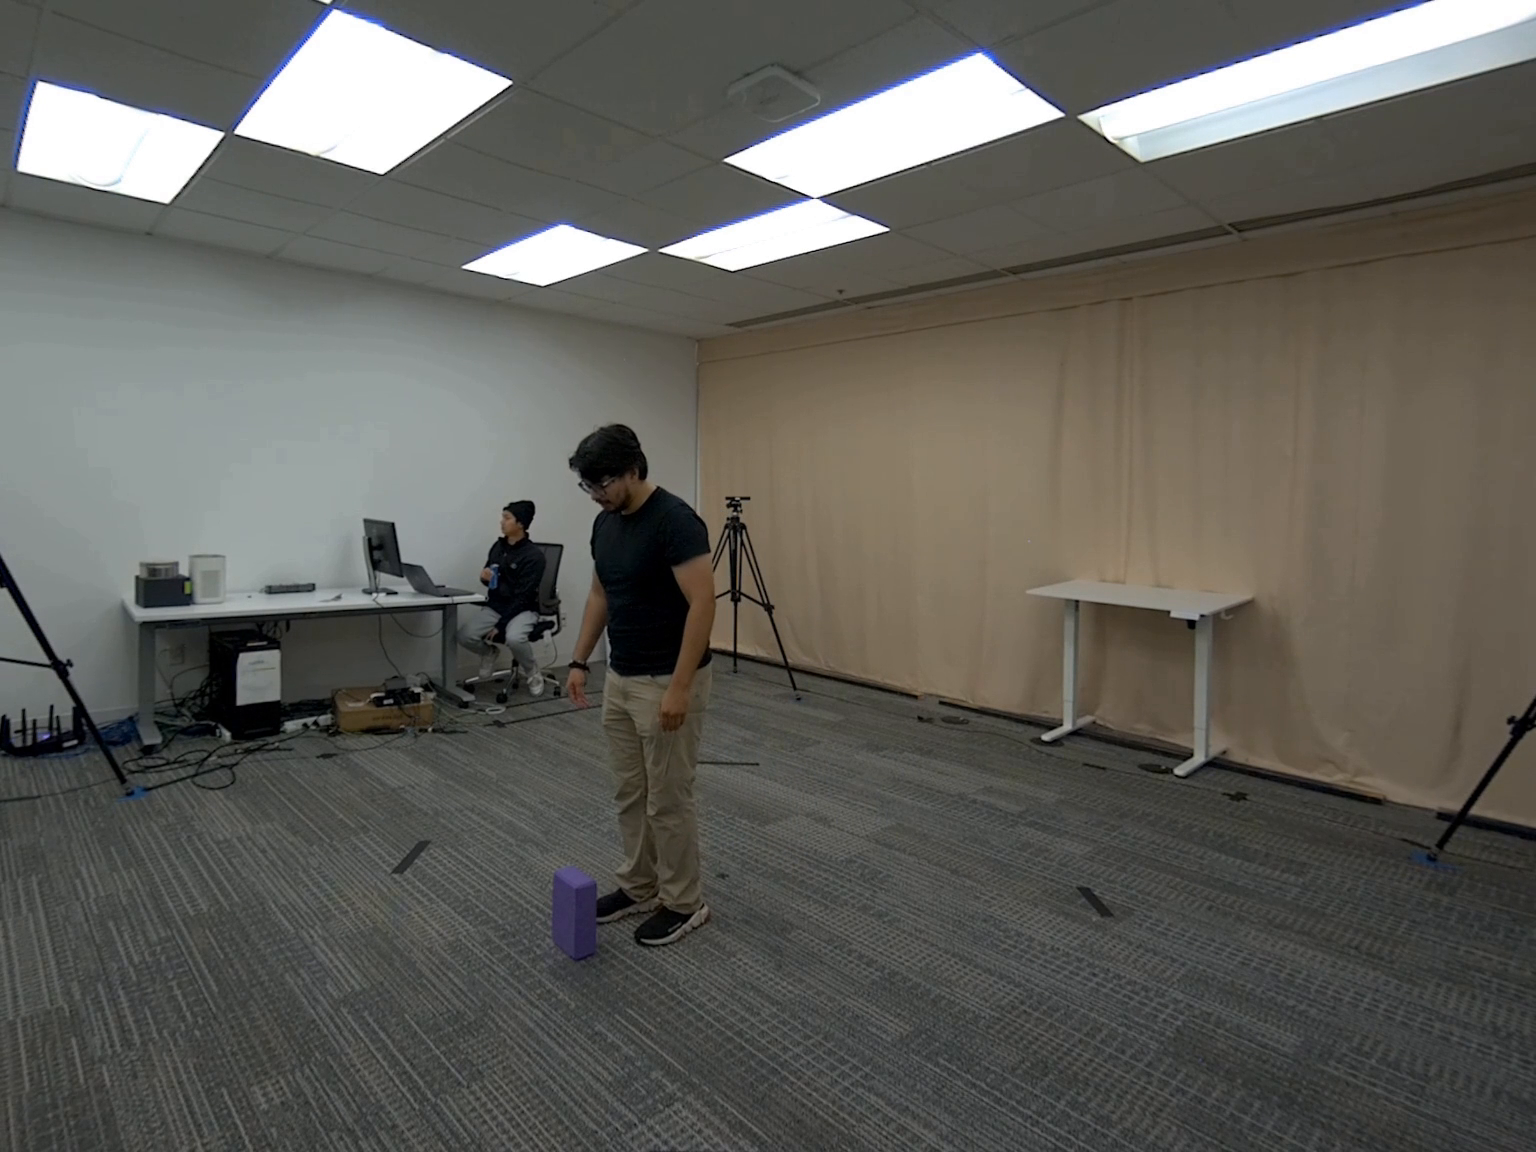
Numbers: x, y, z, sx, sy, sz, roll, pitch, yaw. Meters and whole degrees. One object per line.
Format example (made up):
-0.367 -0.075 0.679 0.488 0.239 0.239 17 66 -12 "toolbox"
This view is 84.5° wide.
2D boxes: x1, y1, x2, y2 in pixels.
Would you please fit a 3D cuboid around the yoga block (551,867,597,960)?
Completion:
-0.599 1.029 2.572 0.074 0.229 0.153 0 4 -41 "yoga block"
